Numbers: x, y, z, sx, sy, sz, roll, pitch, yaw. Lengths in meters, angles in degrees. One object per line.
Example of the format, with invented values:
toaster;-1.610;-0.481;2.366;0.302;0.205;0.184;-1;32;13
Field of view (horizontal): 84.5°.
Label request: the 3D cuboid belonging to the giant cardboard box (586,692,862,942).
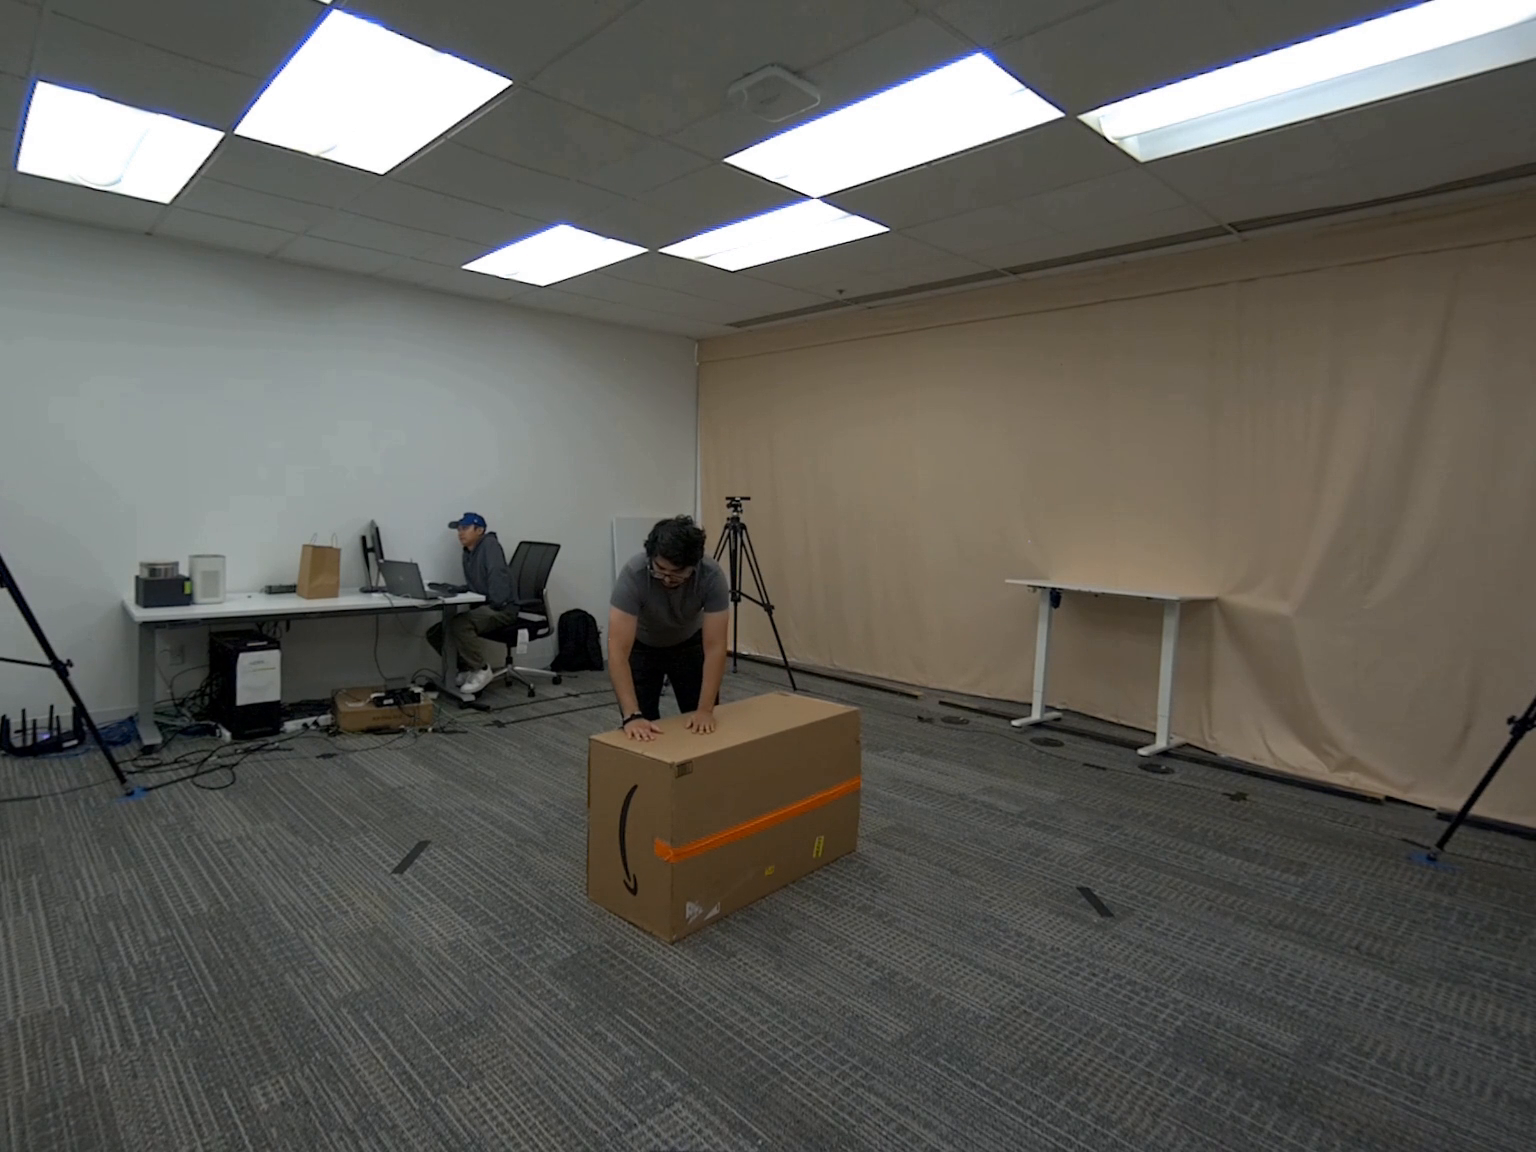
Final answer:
giant cardboard box;-0.127;0.818;3.104;0.437;0.576;1.003;4;6;41
